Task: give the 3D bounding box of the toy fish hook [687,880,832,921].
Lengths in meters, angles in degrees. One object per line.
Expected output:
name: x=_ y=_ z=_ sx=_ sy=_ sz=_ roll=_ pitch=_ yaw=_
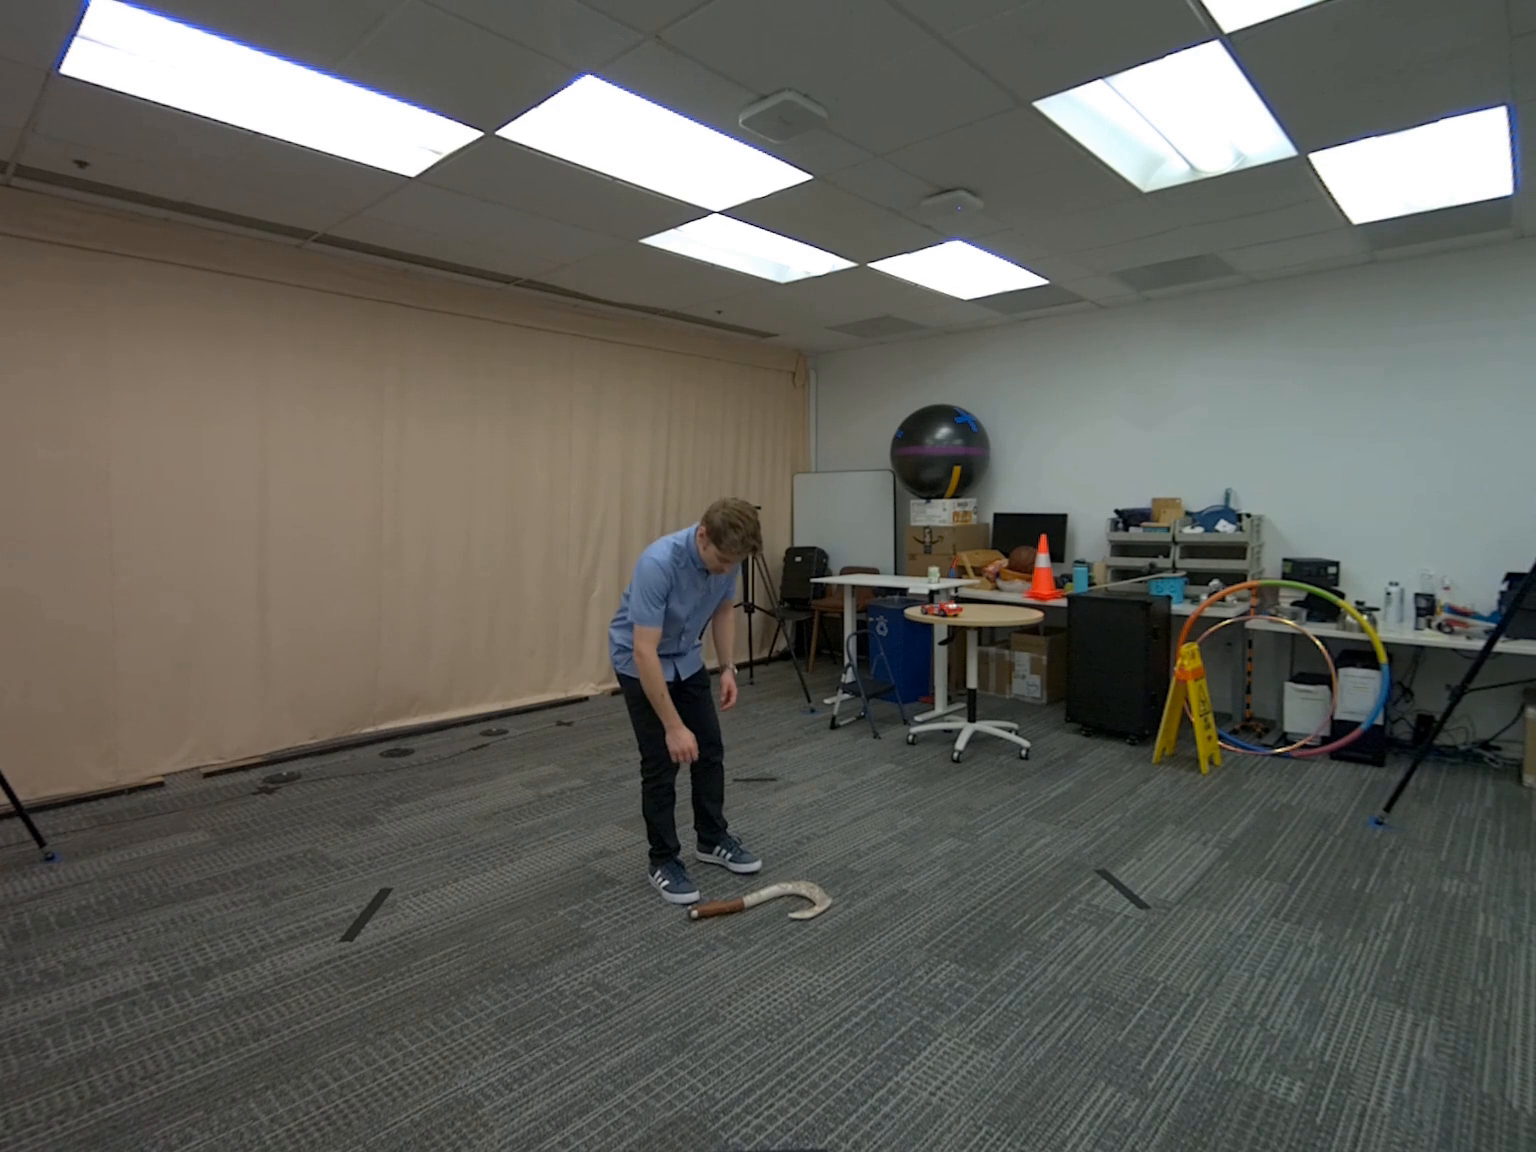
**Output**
toy fish hook: x=-0.019 y=1.130 z=2.879 sx=0.495 sy=0.048 sz=0.230 roll=-2 pitch=4 yaw=-25
